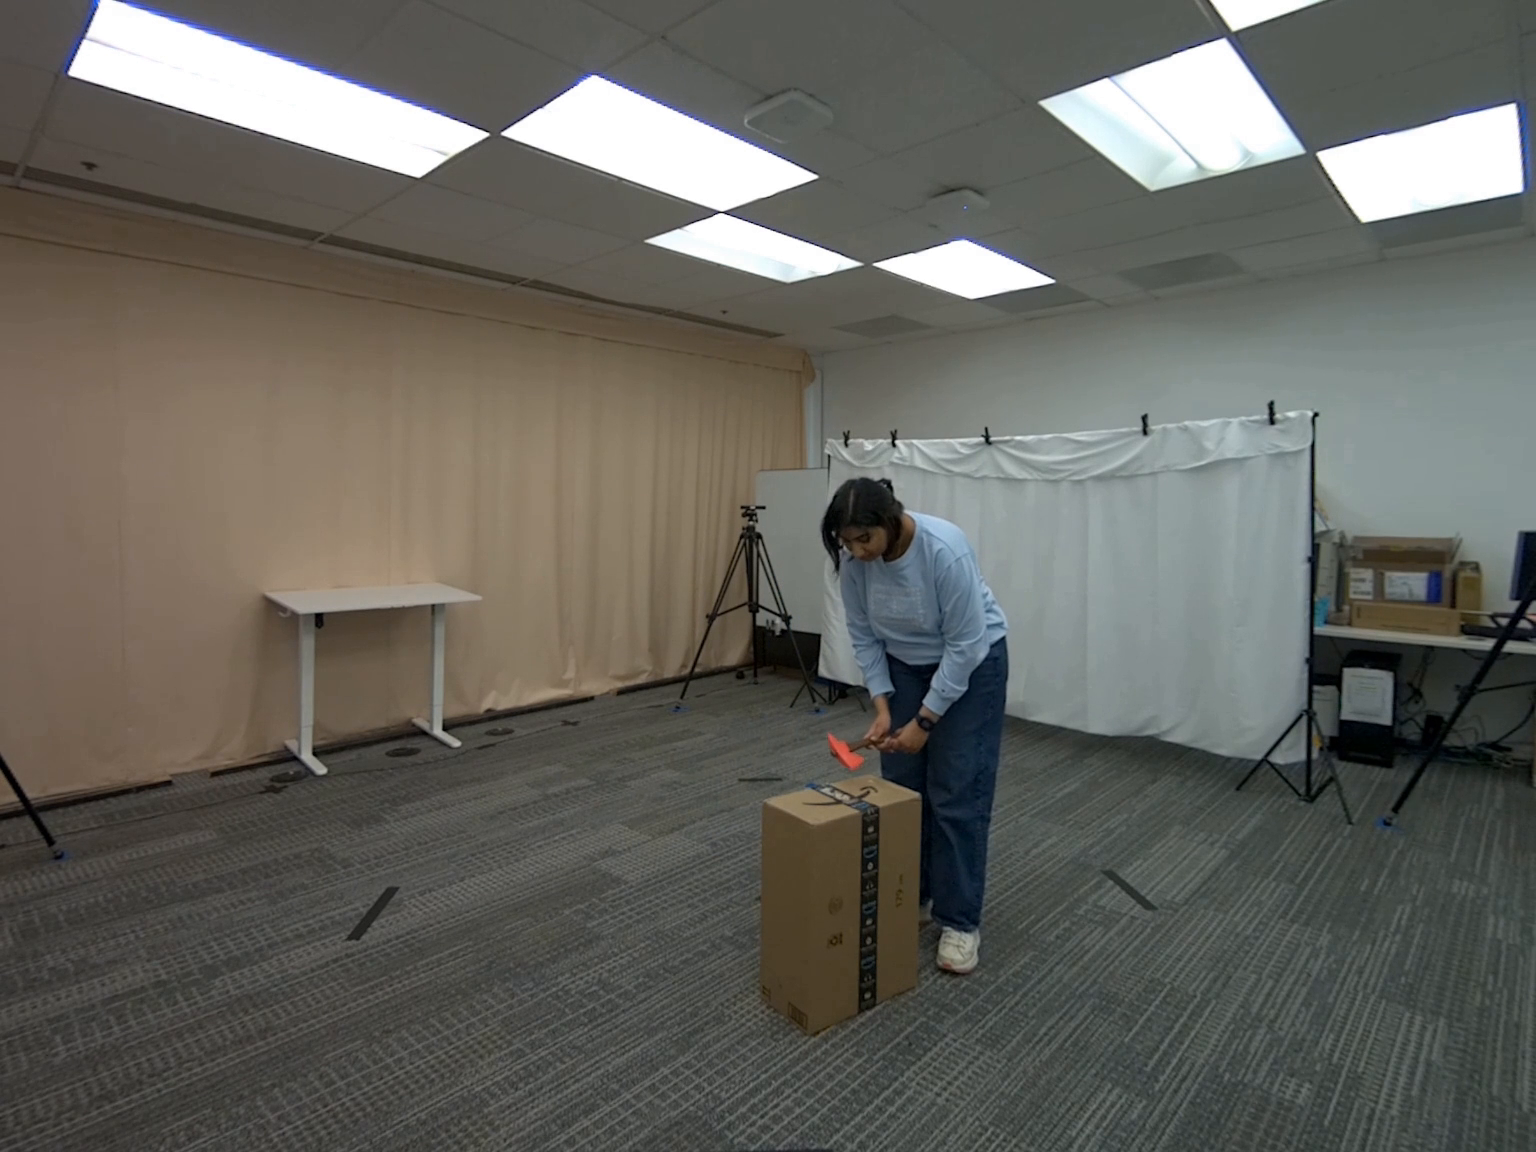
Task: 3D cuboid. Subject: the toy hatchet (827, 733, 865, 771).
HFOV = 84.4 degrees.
[{"bbox_3d":[0.334,0.545,2.517,0.266,0.029,0.134,3,36,-12],"label":"toy hatchet"}]
